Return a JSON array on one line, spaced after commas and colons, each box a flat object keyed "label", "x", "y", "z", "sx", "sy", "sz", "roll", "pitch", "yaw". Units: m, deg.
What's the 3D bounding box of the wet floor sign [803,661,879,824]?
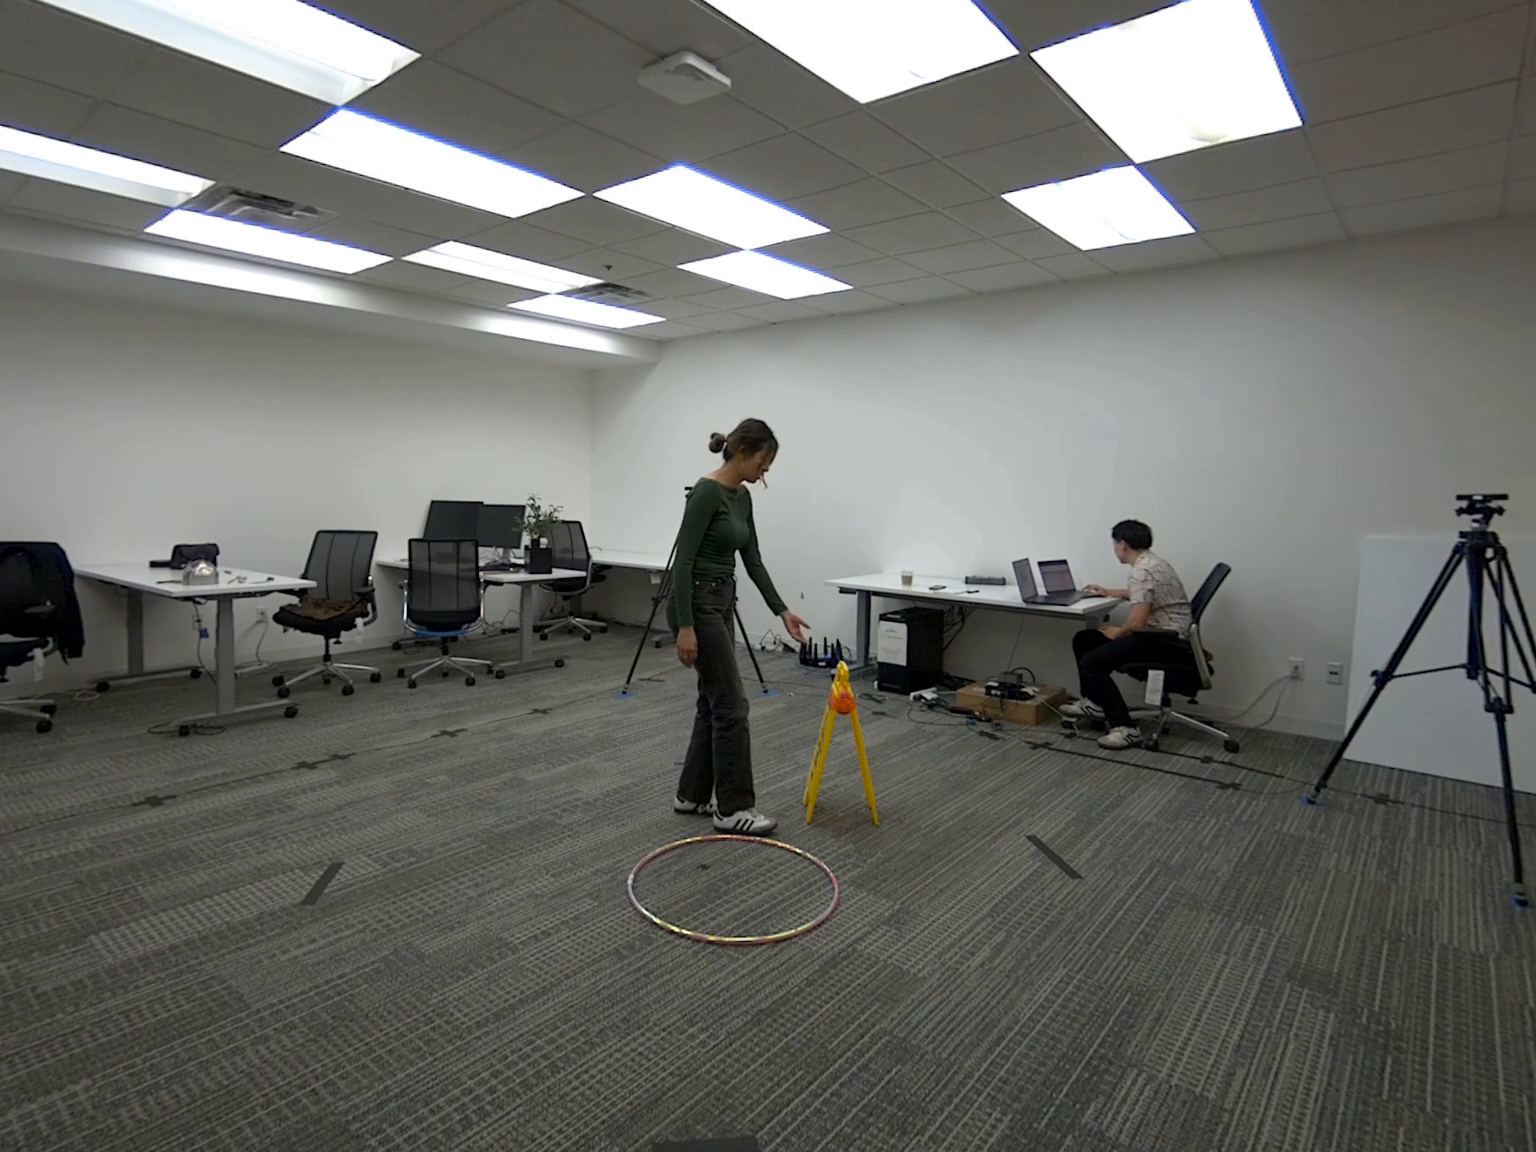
[{"label": "wet floor sign", "x": 0.307, "y": 0.701, "z": 3.652, "sx": 0.290, "sy": 0.644, "sz": 0.283, "roll": 1, "pitch": 4, "yaw": 1}]
